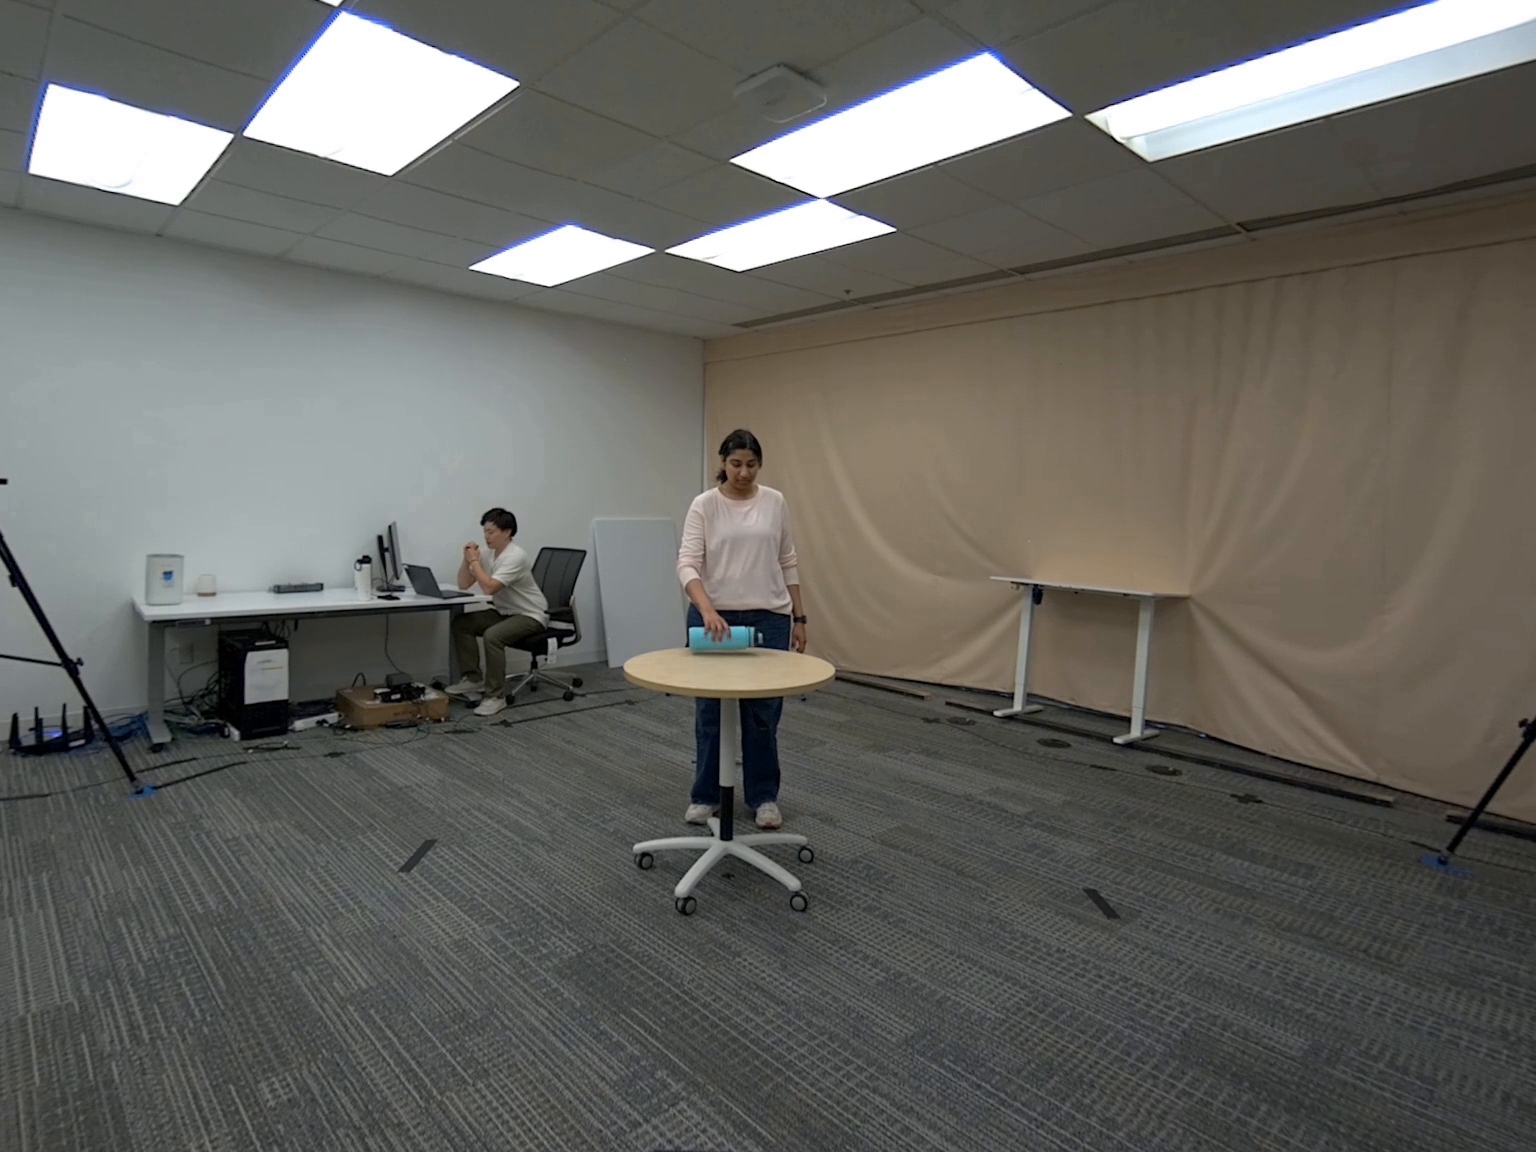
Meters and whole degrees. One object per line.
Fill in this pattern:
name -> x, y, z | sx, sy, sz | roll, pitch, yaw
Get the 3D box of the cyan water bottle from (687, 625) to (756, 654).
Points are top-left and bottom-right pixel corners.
cyan water bottle -> -0.180, 0.244, 3.263 | 0.282, 0.092, 0.093 | -1, 4, -6
